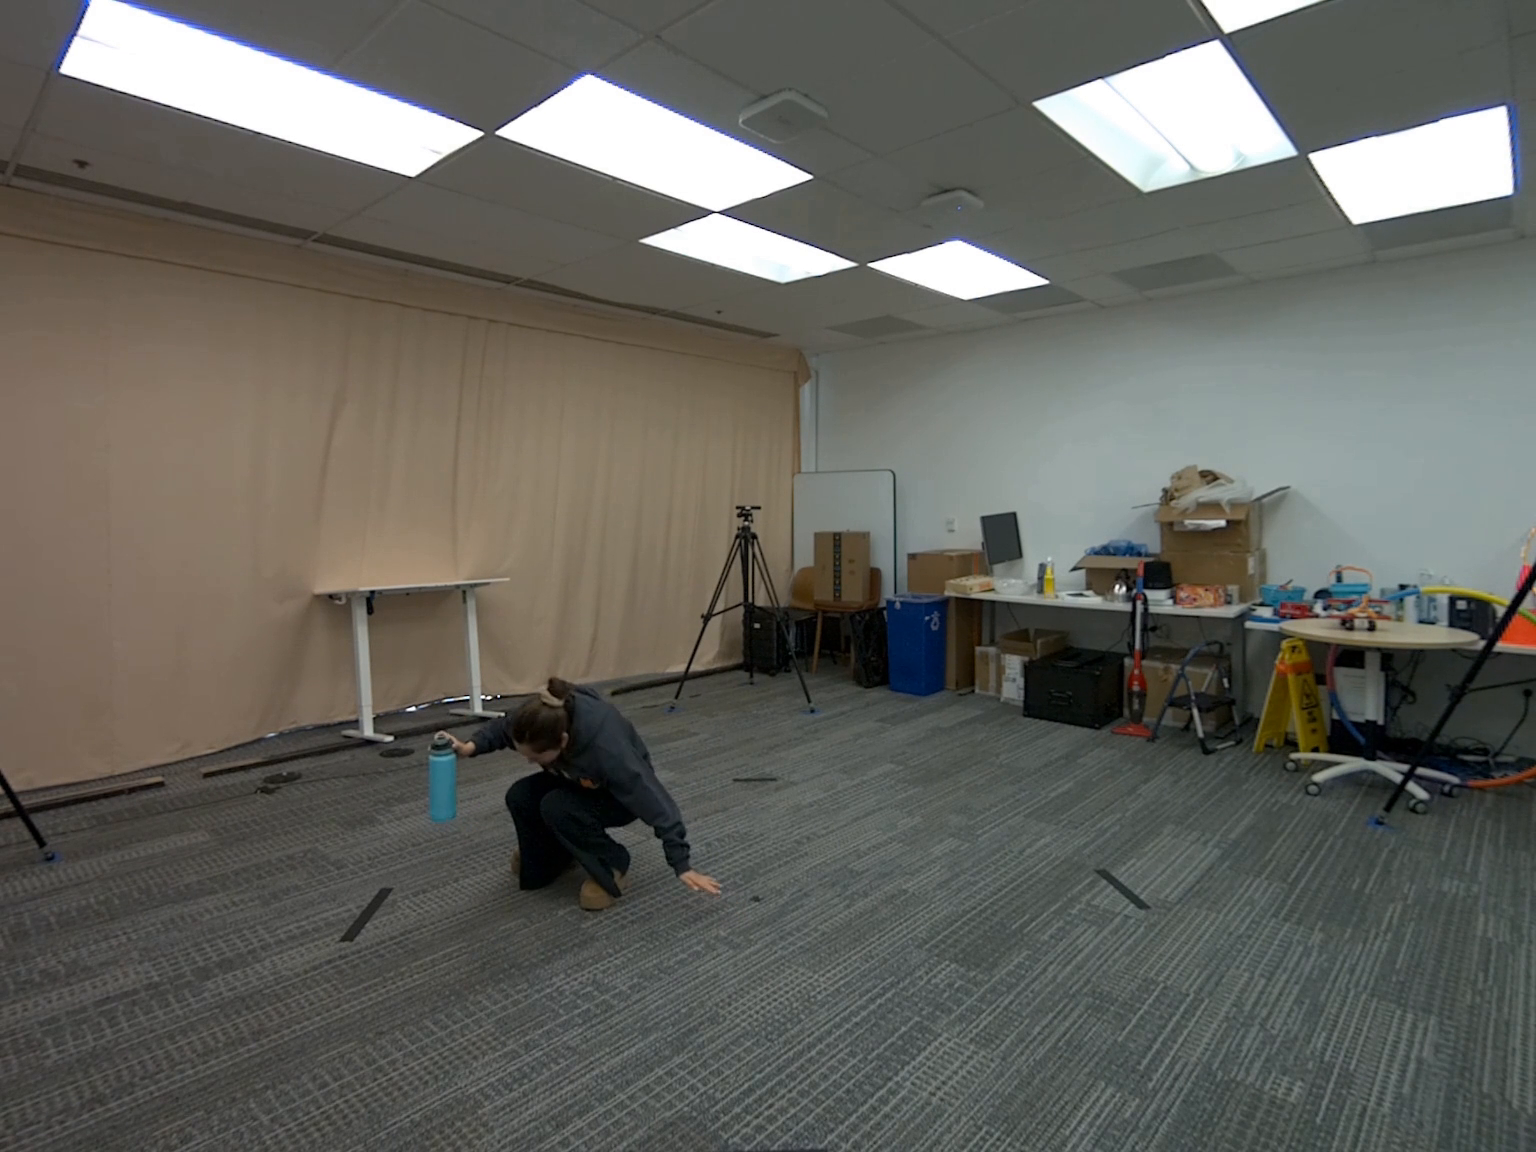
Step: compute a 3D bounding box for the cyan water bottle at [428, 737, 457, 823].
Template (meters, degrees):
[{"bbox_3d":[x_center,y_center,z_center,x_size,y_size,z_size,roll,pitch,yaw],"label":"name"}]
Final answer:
[{"bbox_3d":[-1.100,0.674,2.899,0.092,0.282,0.093,-2,5,-2],"label":"cyan water bottle"}]
